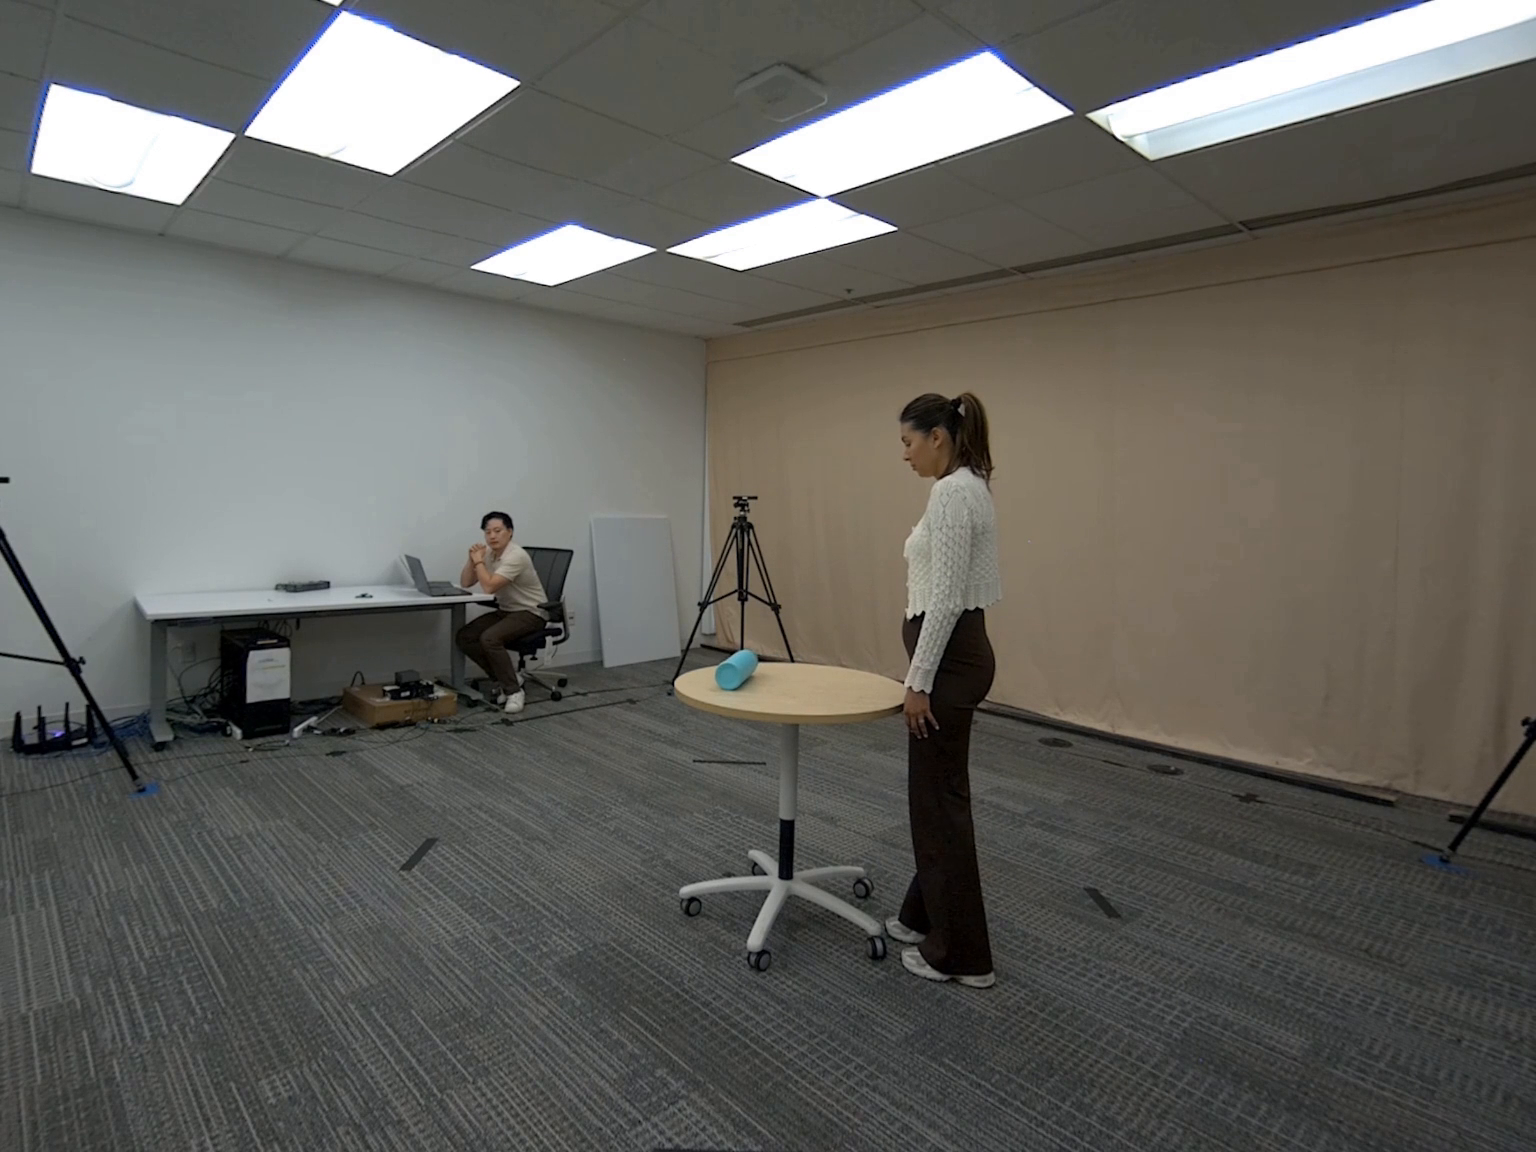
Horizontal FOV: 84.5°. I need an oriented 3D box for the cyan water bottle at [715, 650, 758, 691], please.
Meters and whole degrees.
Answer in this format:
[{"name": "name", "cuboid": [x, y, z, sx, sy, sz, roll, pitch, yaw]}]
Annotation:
[{"name": "cyan water bottle", "cuboid": [-0.095, 0.302, 2.775, 0.093, 0.092, 0.282, 2, 6, 10]}]
